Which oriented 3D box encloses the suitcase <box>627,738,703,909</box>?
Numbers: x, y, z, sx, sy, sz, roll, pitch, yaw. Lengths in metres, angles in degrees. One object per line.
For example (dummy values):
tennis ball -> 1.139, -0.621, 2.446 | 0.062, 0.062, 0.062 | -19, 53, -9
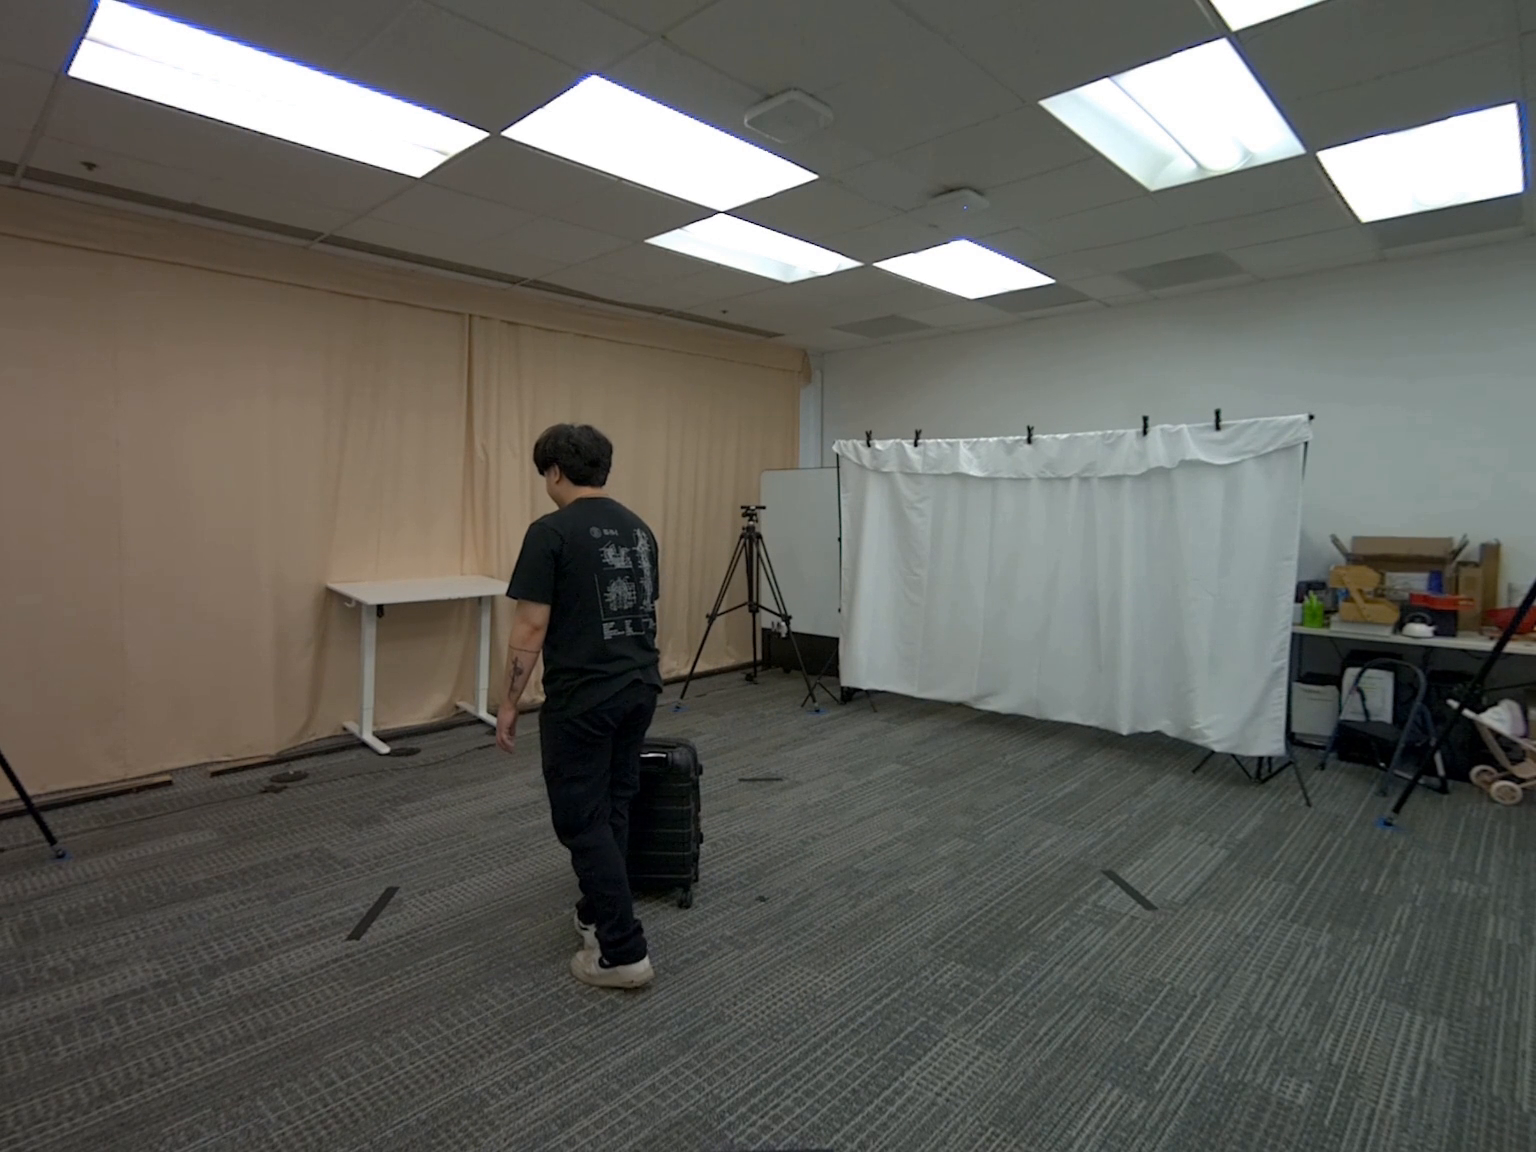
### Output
suitcase -> -0.431, 0.864, 3.043 | 0.377, 0.549, 0.248 | -1, 2, 3
